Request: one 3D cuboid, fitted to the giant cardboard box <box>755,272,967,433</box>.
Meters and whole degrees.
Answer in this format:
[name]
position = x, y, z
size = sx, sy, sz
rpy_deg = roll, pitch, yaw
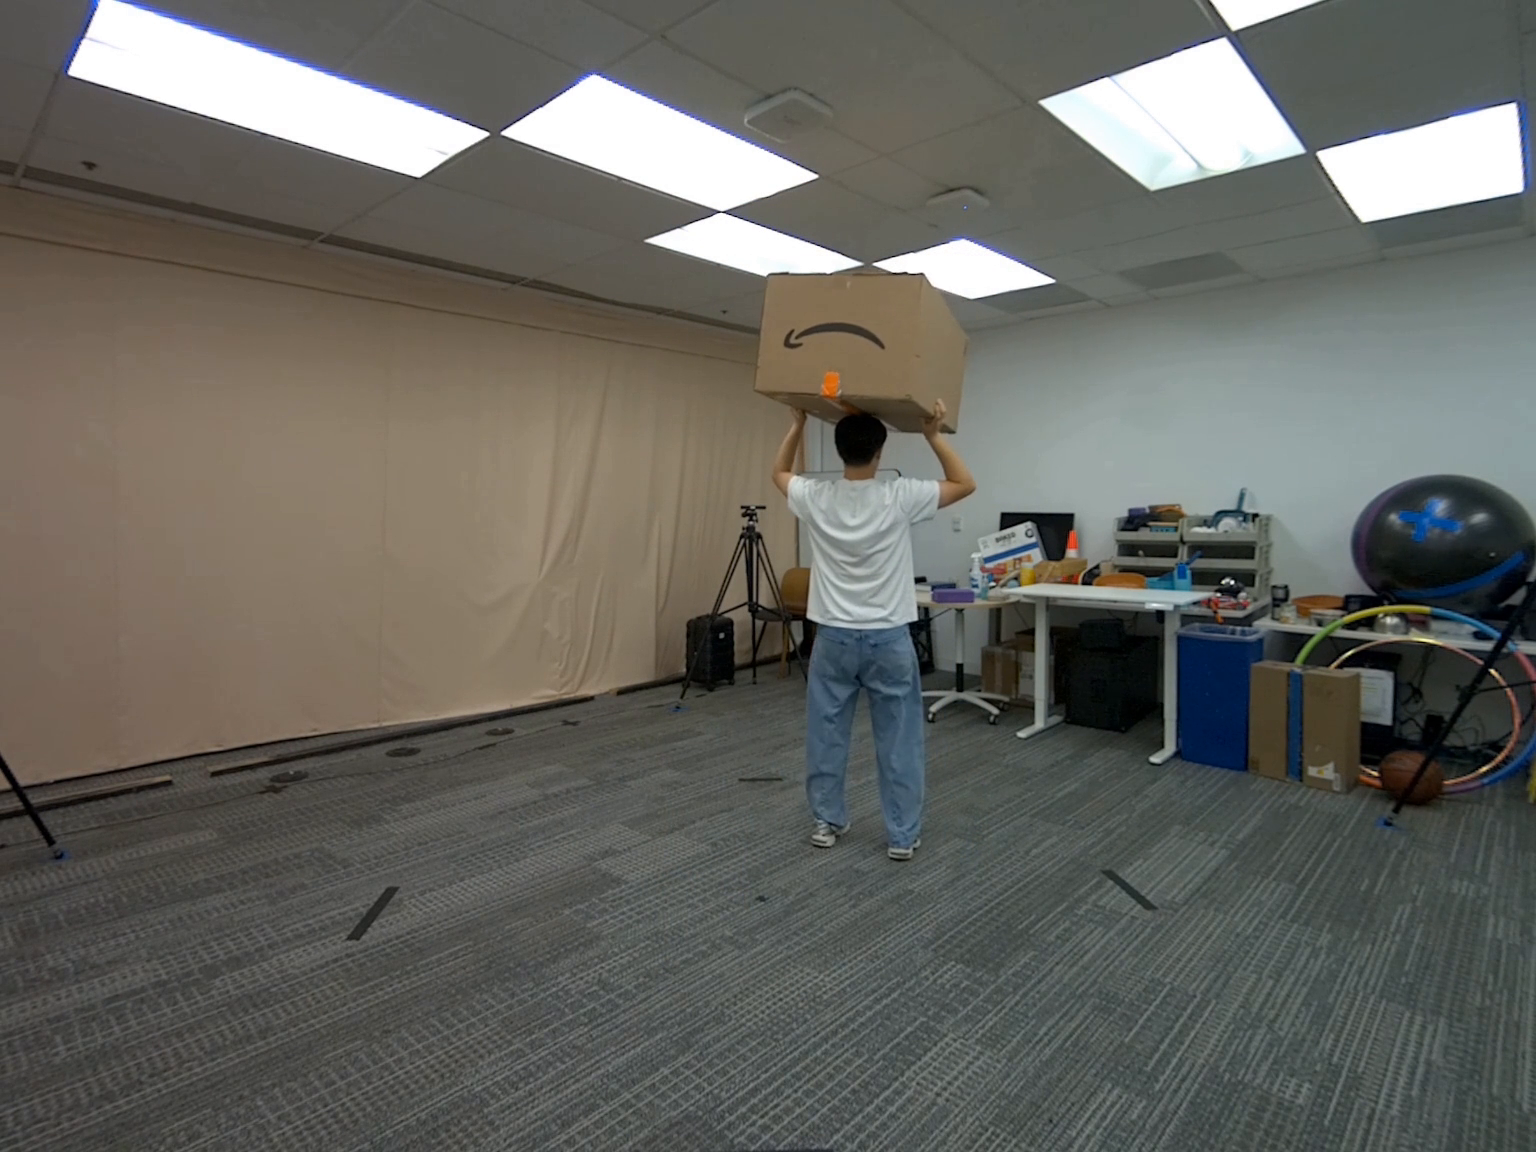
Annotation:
[giant cardboard box]
position = 0.421, -0.849, 3.373
size = 0.592, 0.425, 1.003
rpy_deg = 9, 6, 22
